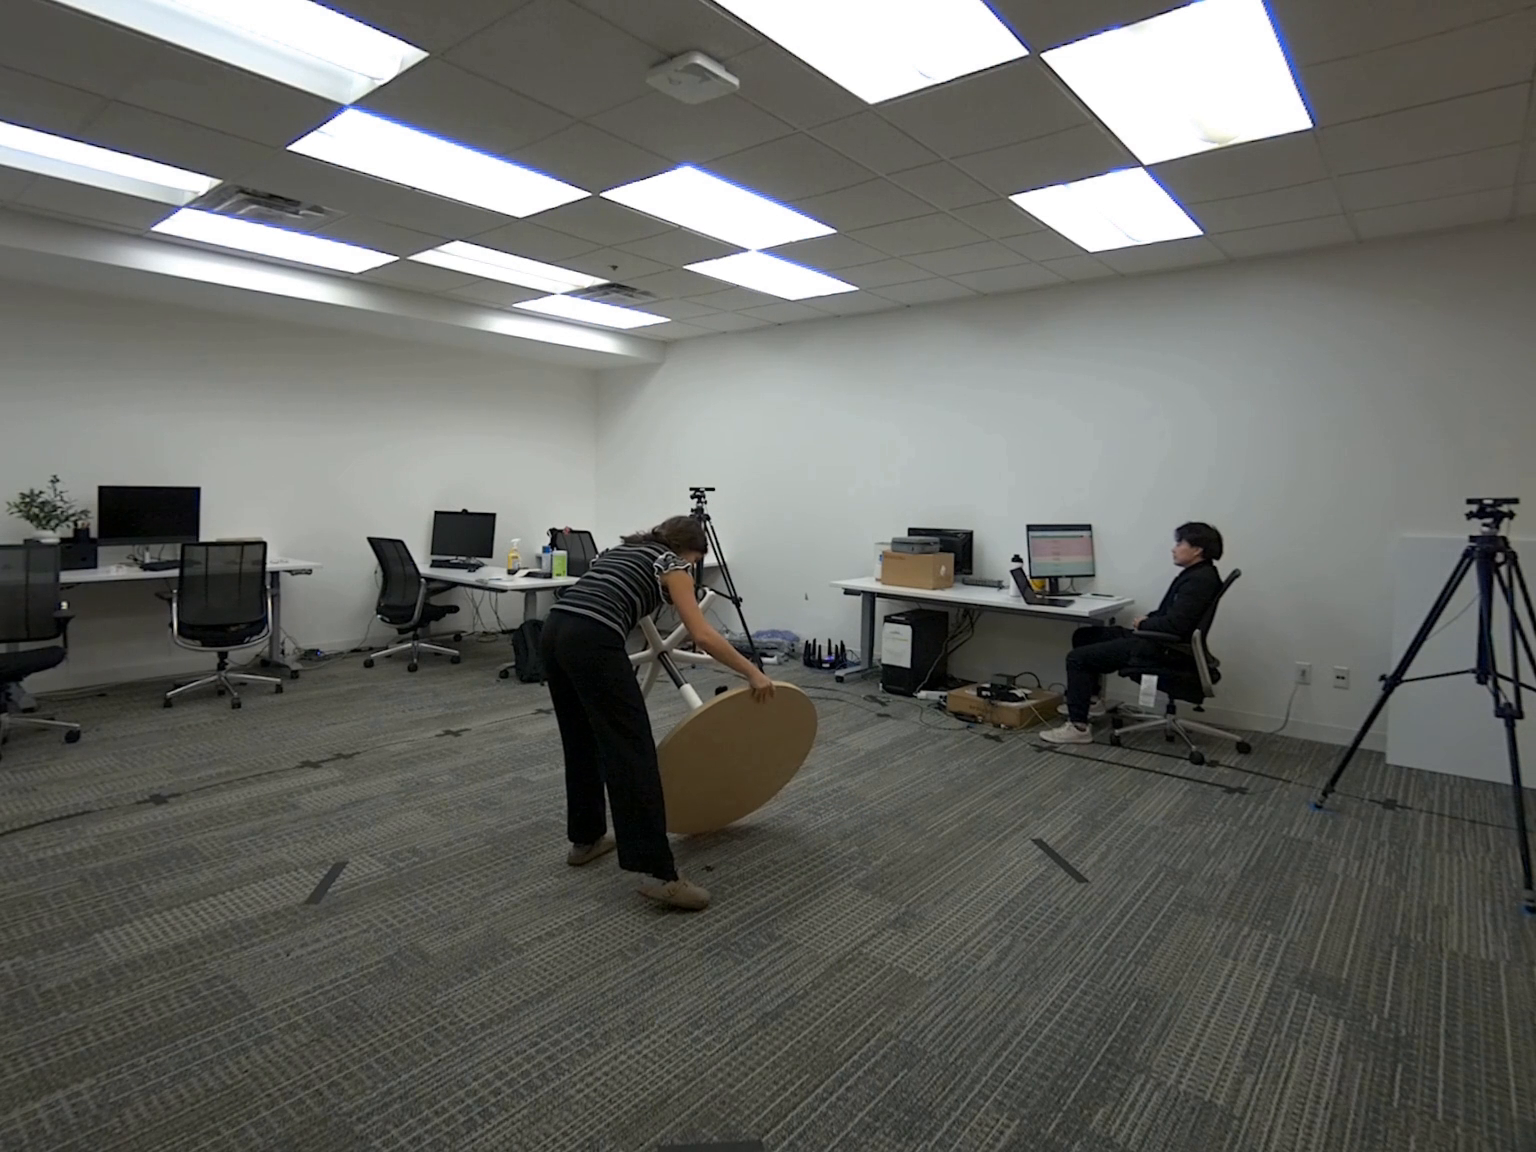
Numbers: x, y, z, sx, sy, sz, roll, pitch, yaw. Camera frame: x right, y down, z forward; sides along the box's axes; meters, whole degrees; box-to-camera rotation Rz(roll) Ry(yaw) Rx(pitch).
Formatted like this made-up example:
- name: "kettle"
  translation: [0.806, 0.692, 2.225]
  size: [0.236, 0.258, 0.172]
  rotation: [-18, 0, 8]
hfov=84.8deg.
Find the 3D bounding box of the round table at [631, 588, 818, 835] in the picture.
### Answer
- name: "round table"
  translation: [-0.345, 0.498, 3.567]
  size: [0.742, 0.753, 0.828]
  rotation: [-2, 34, -34]
